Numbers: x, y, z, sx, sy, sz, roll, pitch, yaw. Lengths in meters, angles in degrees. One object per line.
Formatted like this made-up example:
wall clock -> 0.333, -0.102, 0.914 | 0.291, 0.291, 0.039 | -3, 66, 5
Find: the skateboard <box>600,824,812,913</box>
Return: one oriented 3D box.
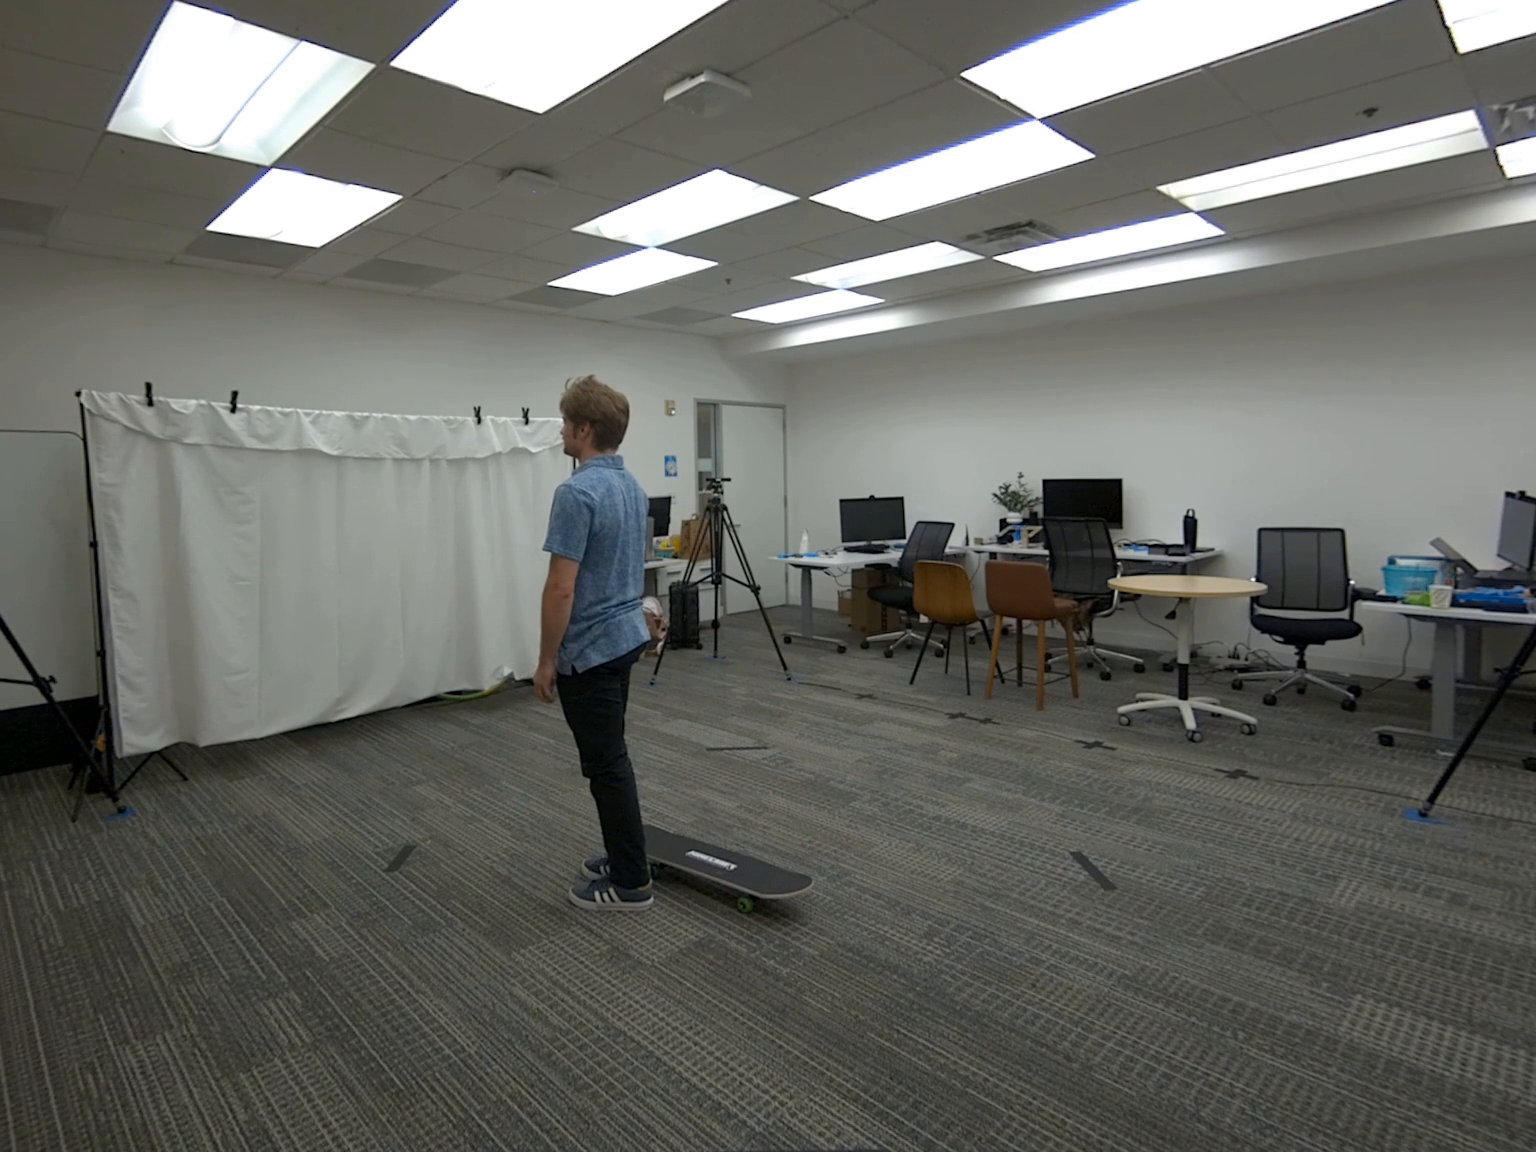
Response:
skateboard -> -0.196, 1.005, 2.934 | 0.808, 0.110, 0.189 | 4, 8, 36
